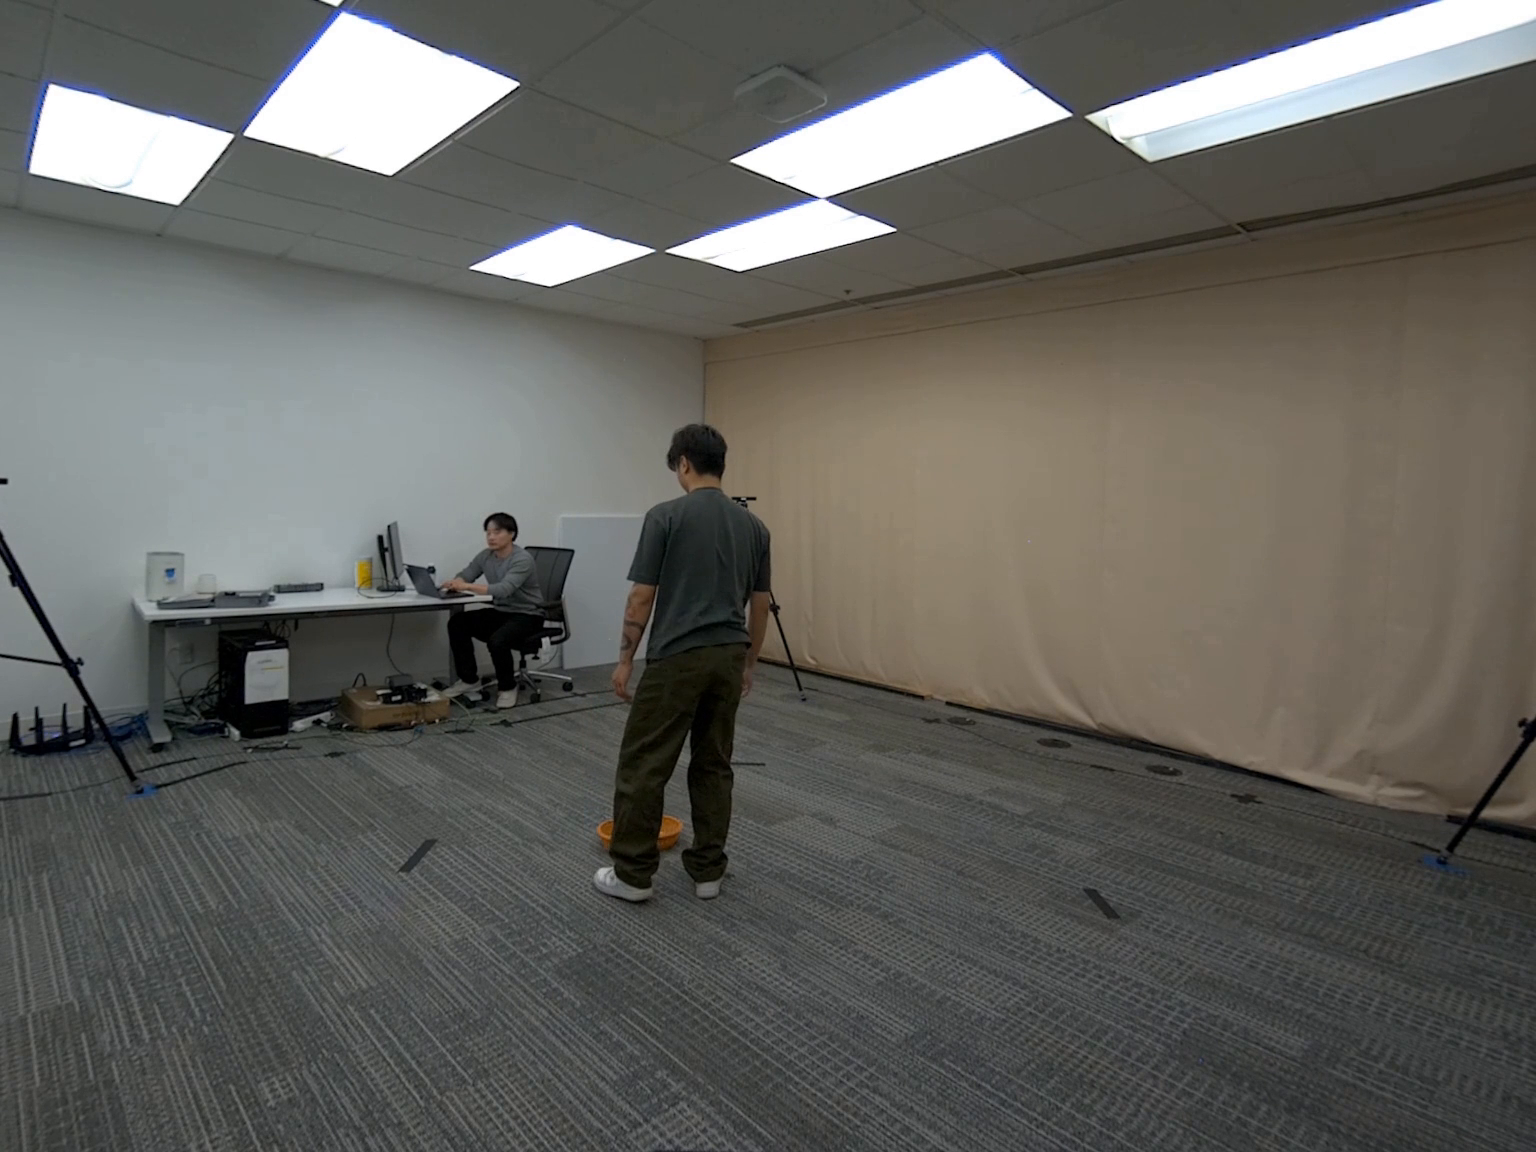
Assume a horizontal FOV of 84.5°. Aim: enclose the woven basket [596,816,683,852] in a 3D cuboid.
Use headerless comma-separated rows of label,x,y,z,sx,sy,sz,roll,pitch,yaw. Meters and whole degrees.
woven basket,-0.518,1.037,3.371,0.345,0.073,0.257,0,5,-21
